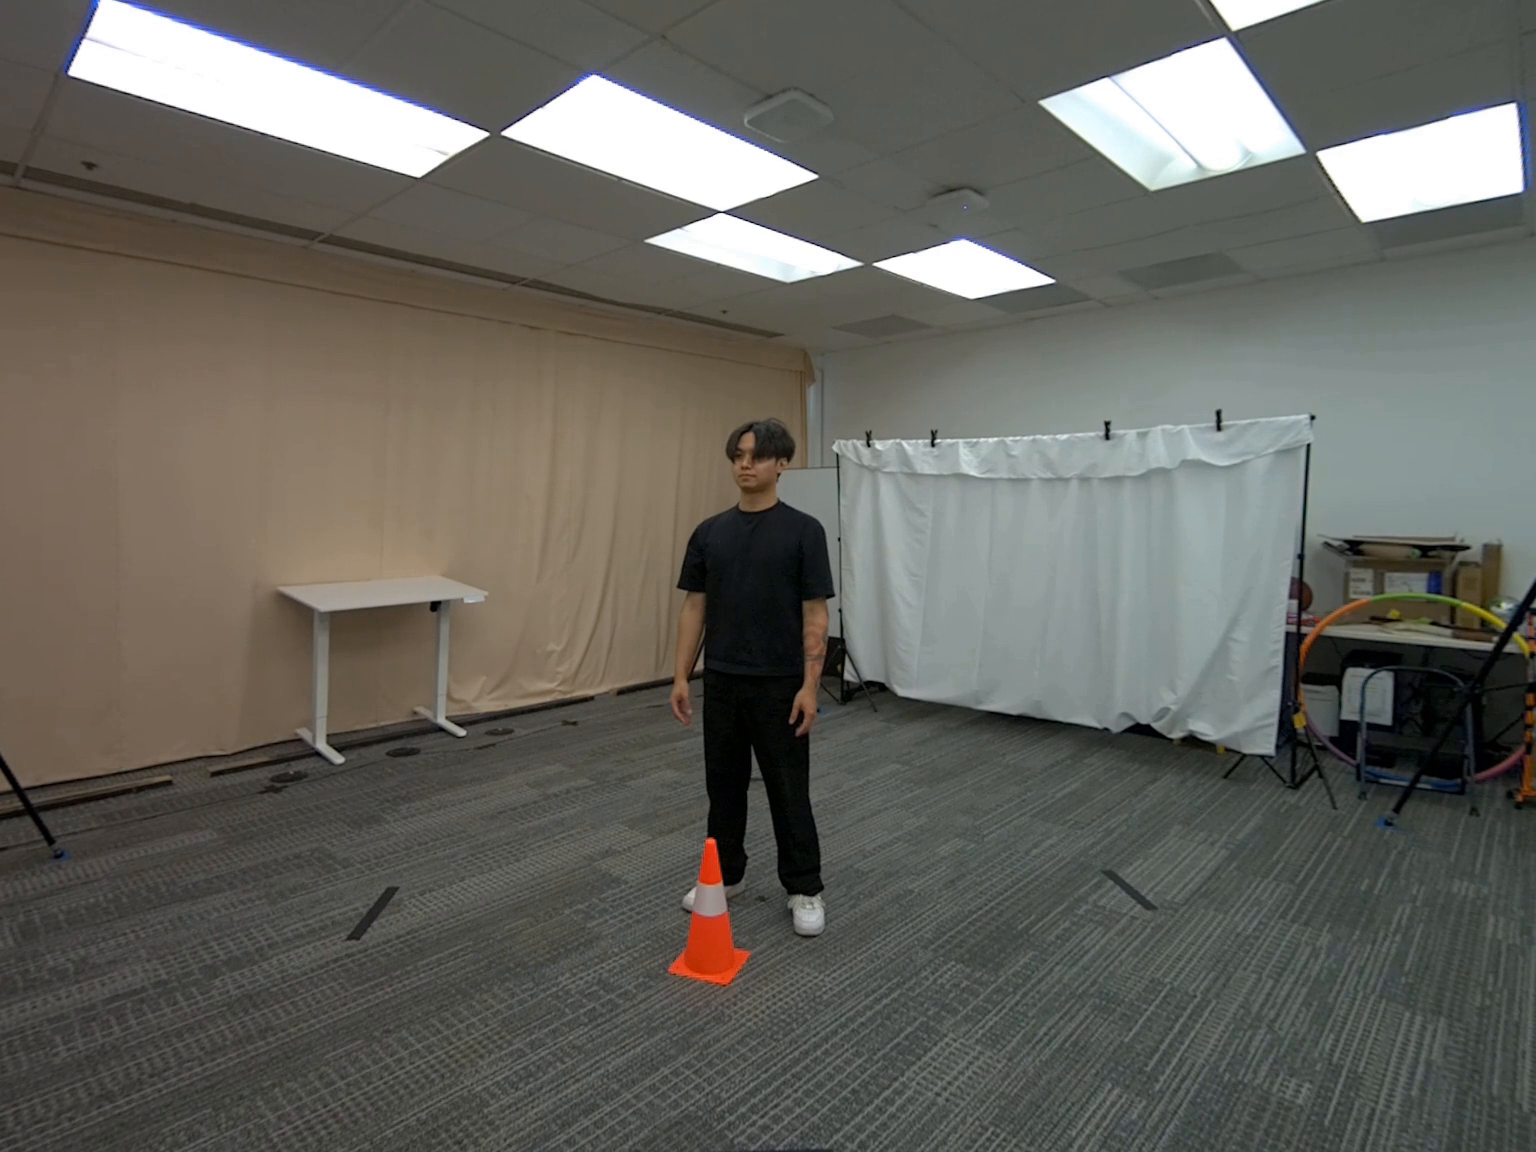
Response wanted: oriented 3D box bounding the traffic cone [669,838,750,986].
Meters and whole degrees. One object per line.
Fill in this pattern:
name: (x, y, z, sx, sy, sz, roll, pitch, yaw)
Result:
traffic cone: (-0.174, 0.989, 2.562, 0.208, 0.383, 0.201, 1, 4, 22)
